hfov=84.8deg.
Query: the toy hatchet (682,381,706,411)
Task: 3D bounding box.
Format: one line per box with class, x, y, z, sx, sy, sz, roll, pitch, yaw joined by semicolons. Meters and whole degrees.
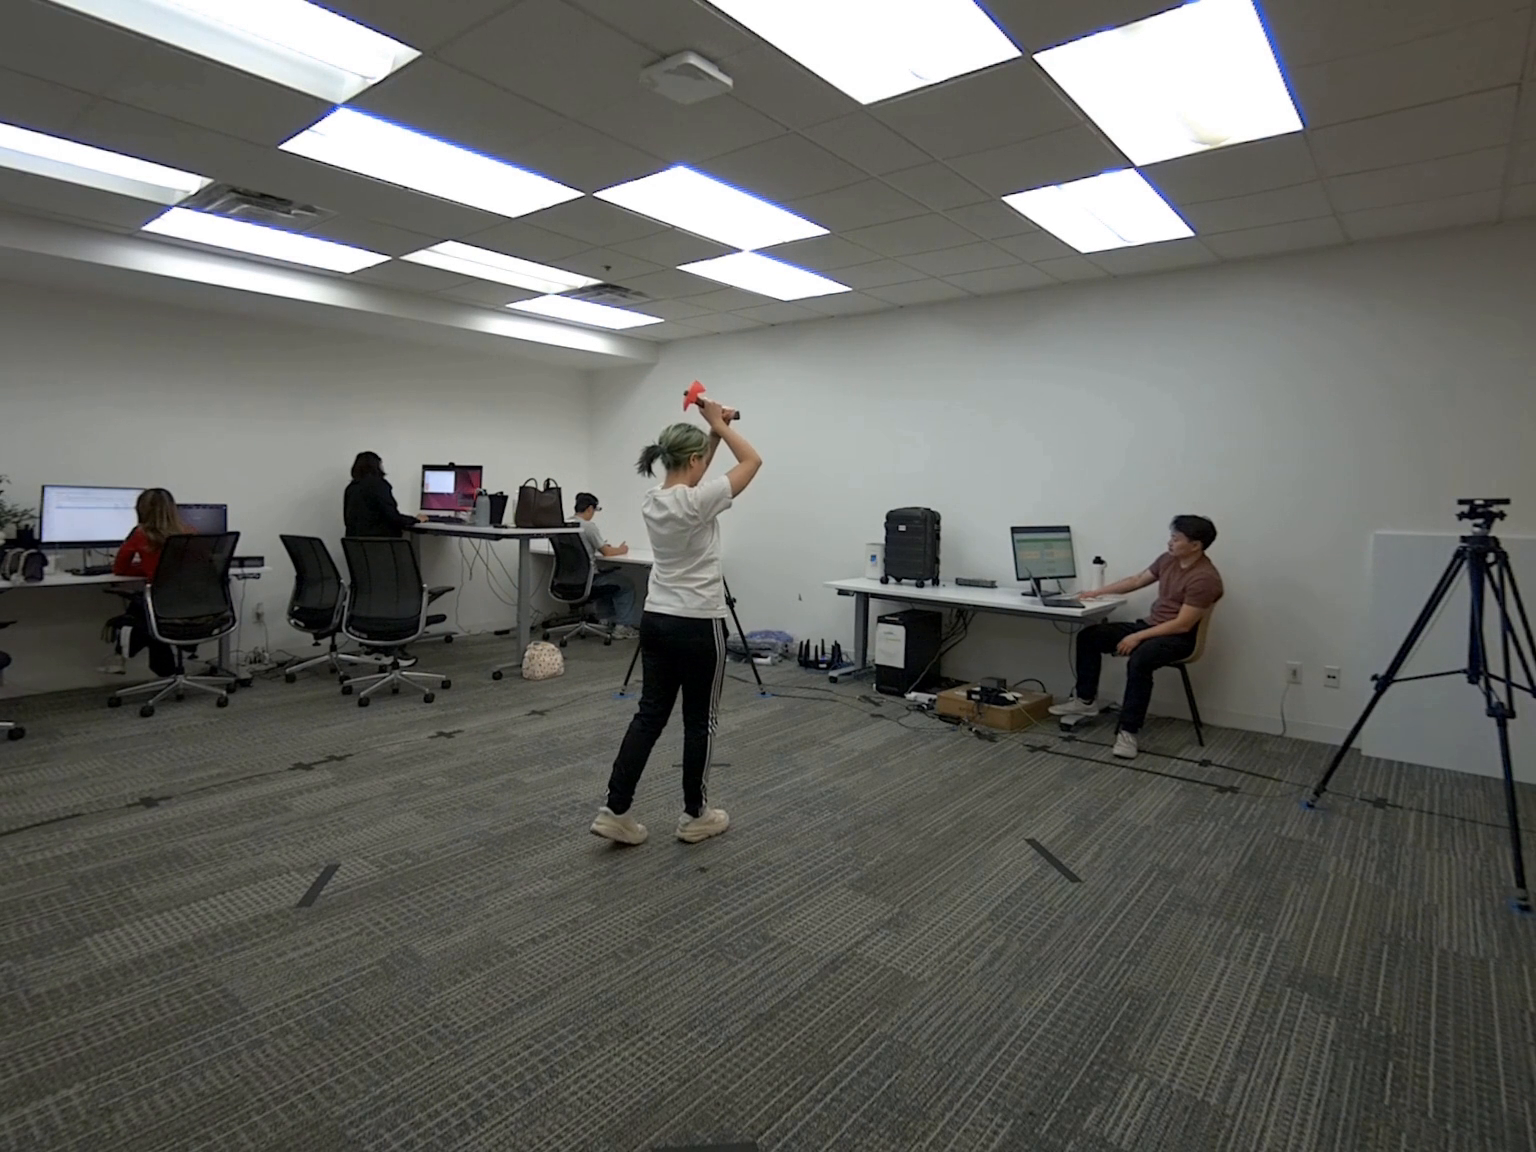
toy hatchet;-0.230;-0.719;3.440;0.262;0.131;0.030;3;0;-31
